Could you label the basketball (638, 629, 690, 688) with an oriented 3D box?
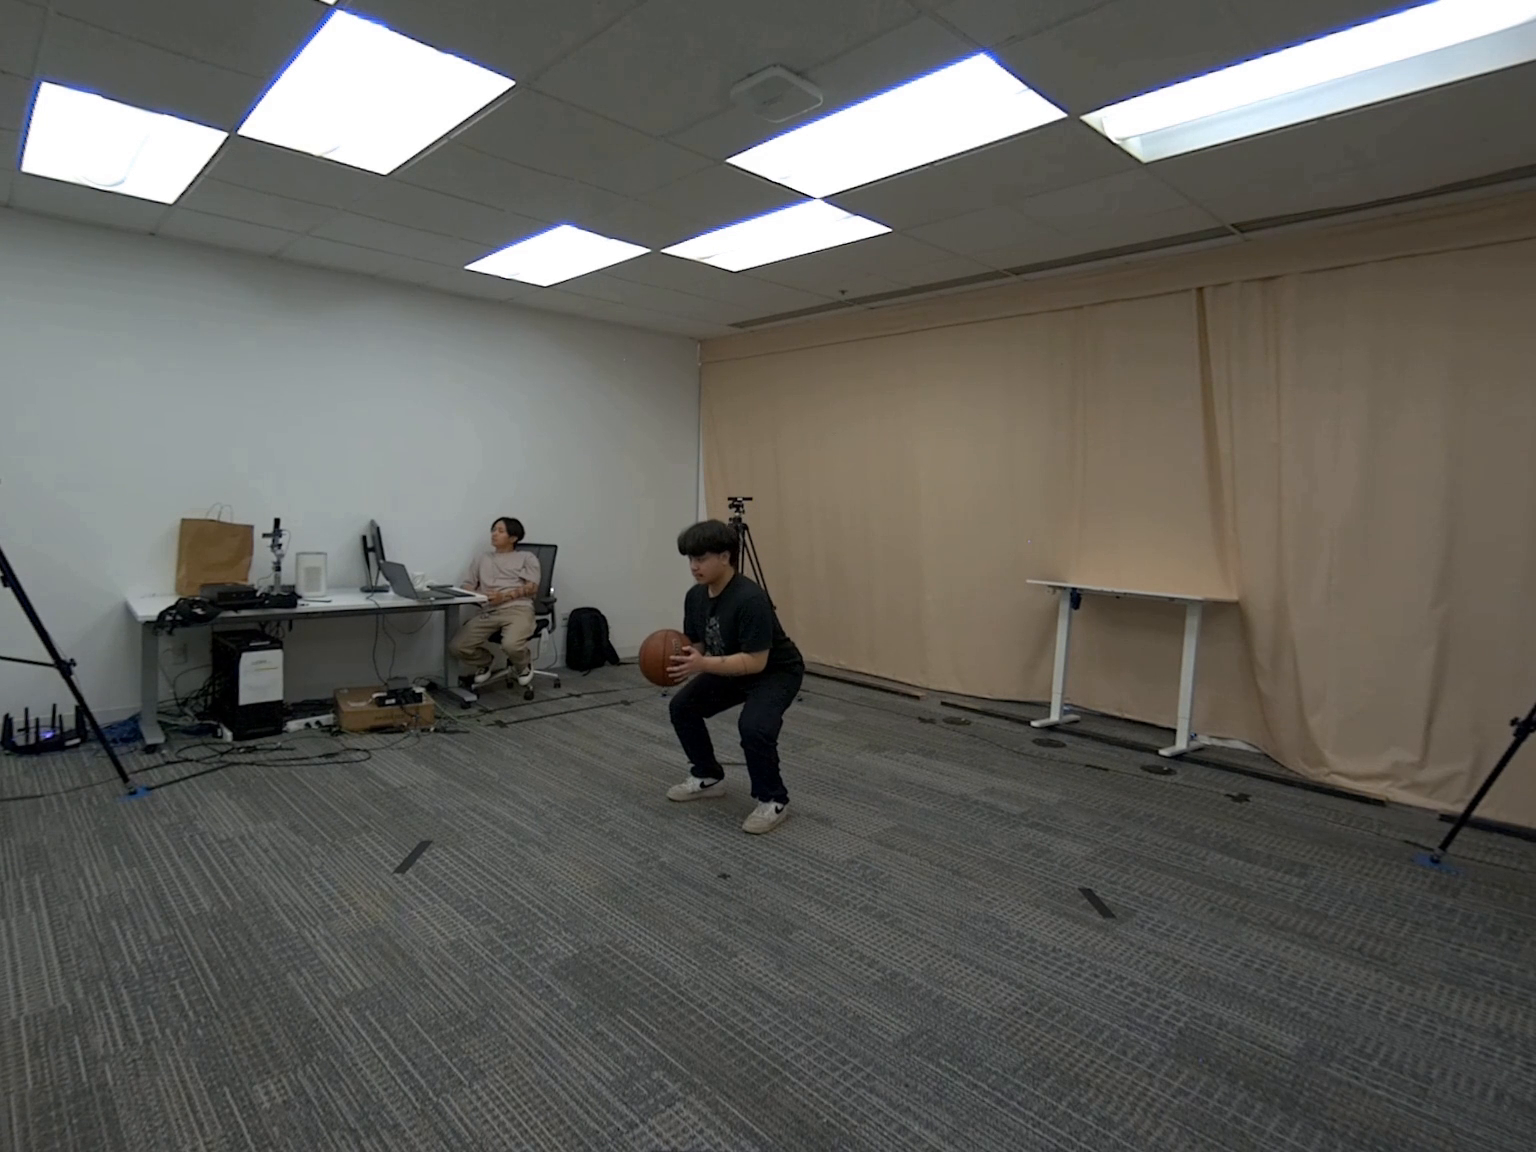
[{"bbox_3d":[-0.437,0.338,3.503,0.236,0.235,0.237,1,4,-1],"label":"basketball"}]
